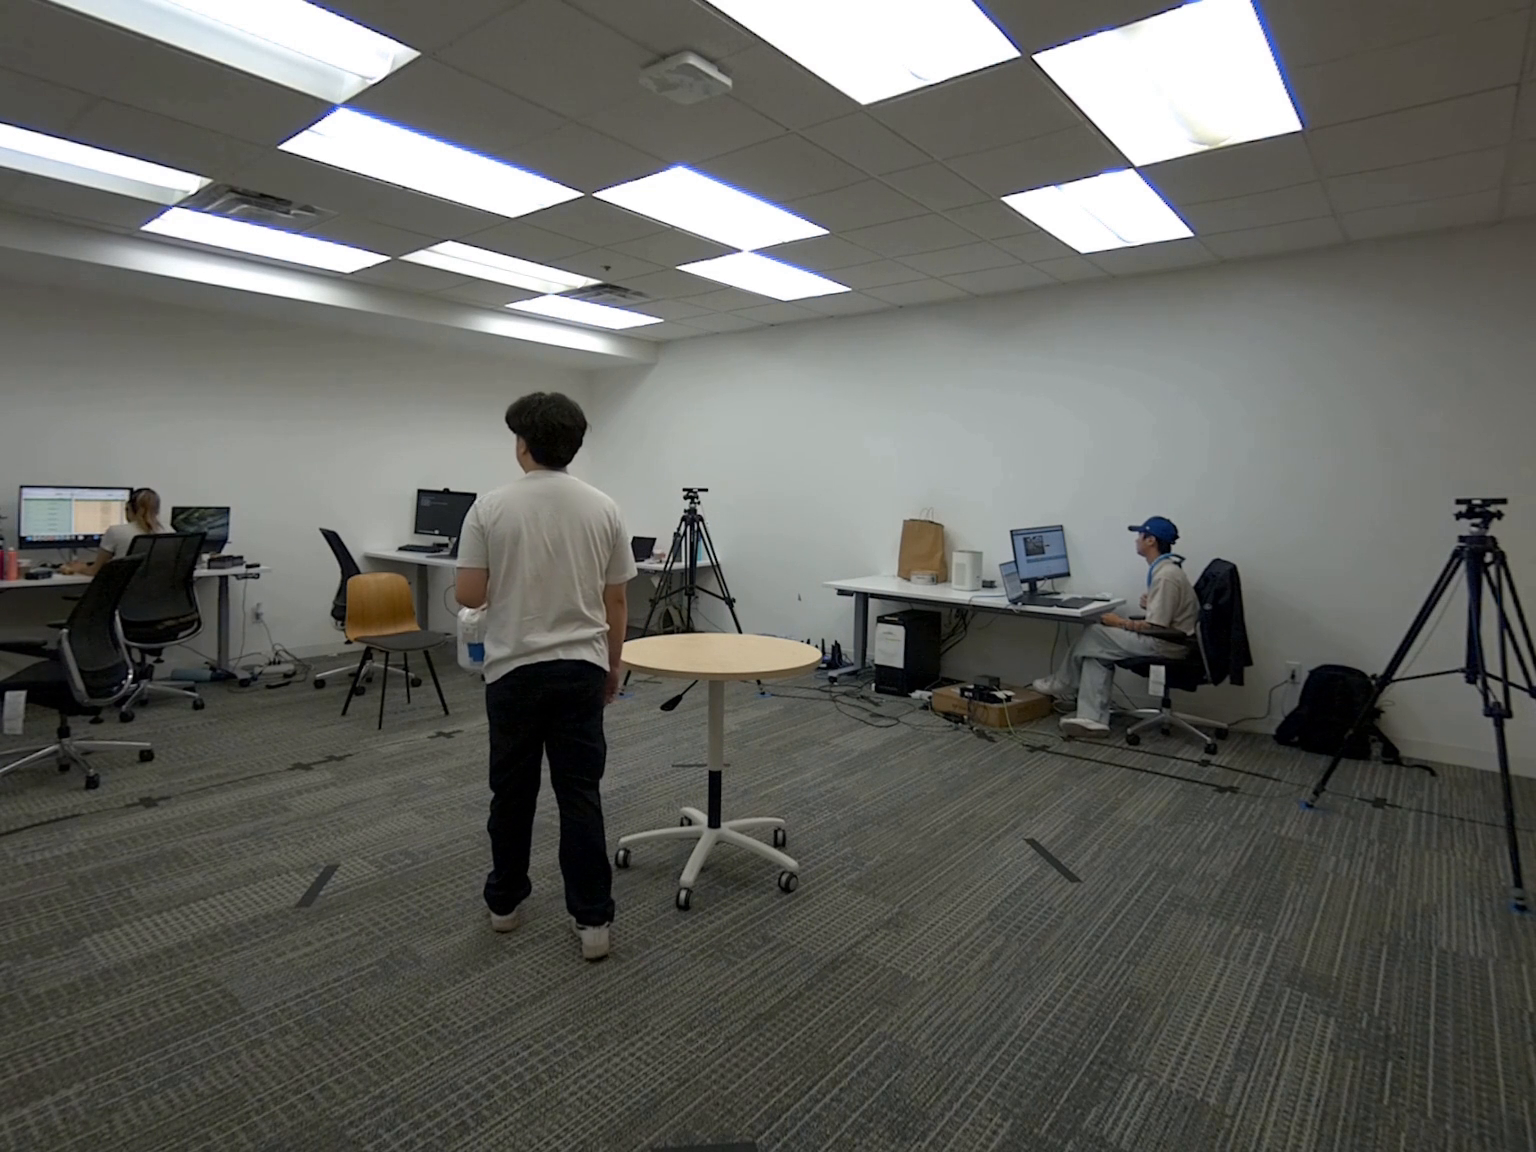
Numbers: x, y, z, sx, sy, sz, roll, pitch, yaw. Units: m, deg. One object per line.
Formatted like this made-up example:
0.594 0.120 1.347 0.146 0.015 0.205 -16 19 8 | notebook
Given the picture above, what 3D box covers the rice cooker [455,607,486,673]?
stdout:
-0.949 0.193 2.854 0.223 0.231 0.216 6 8 23 | rice cooker
